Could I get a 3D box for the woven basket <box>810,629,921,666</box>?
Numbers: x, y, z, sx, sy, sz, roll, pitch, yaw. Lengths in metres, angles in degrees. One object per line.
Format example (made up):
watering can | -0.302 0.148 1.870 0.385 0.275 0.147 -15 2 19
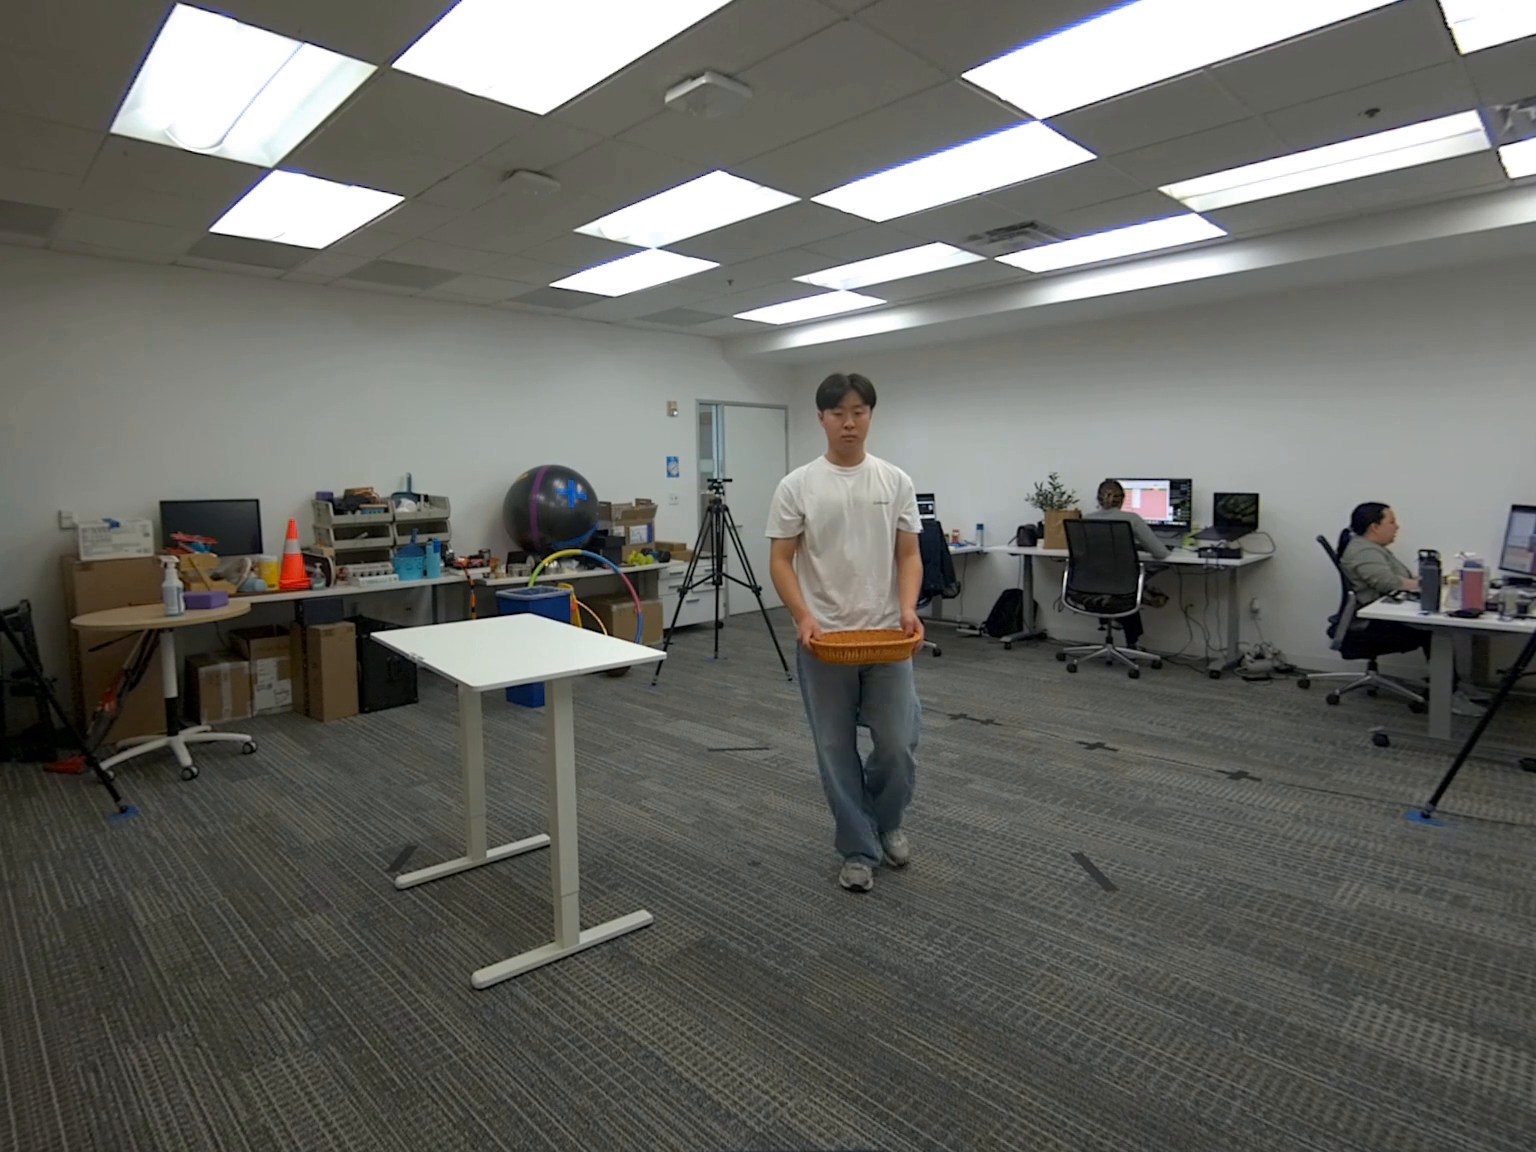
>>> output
woven basket | 0.301 0.226 2.705 0.347 0.073 0.256 -4 8 -10
